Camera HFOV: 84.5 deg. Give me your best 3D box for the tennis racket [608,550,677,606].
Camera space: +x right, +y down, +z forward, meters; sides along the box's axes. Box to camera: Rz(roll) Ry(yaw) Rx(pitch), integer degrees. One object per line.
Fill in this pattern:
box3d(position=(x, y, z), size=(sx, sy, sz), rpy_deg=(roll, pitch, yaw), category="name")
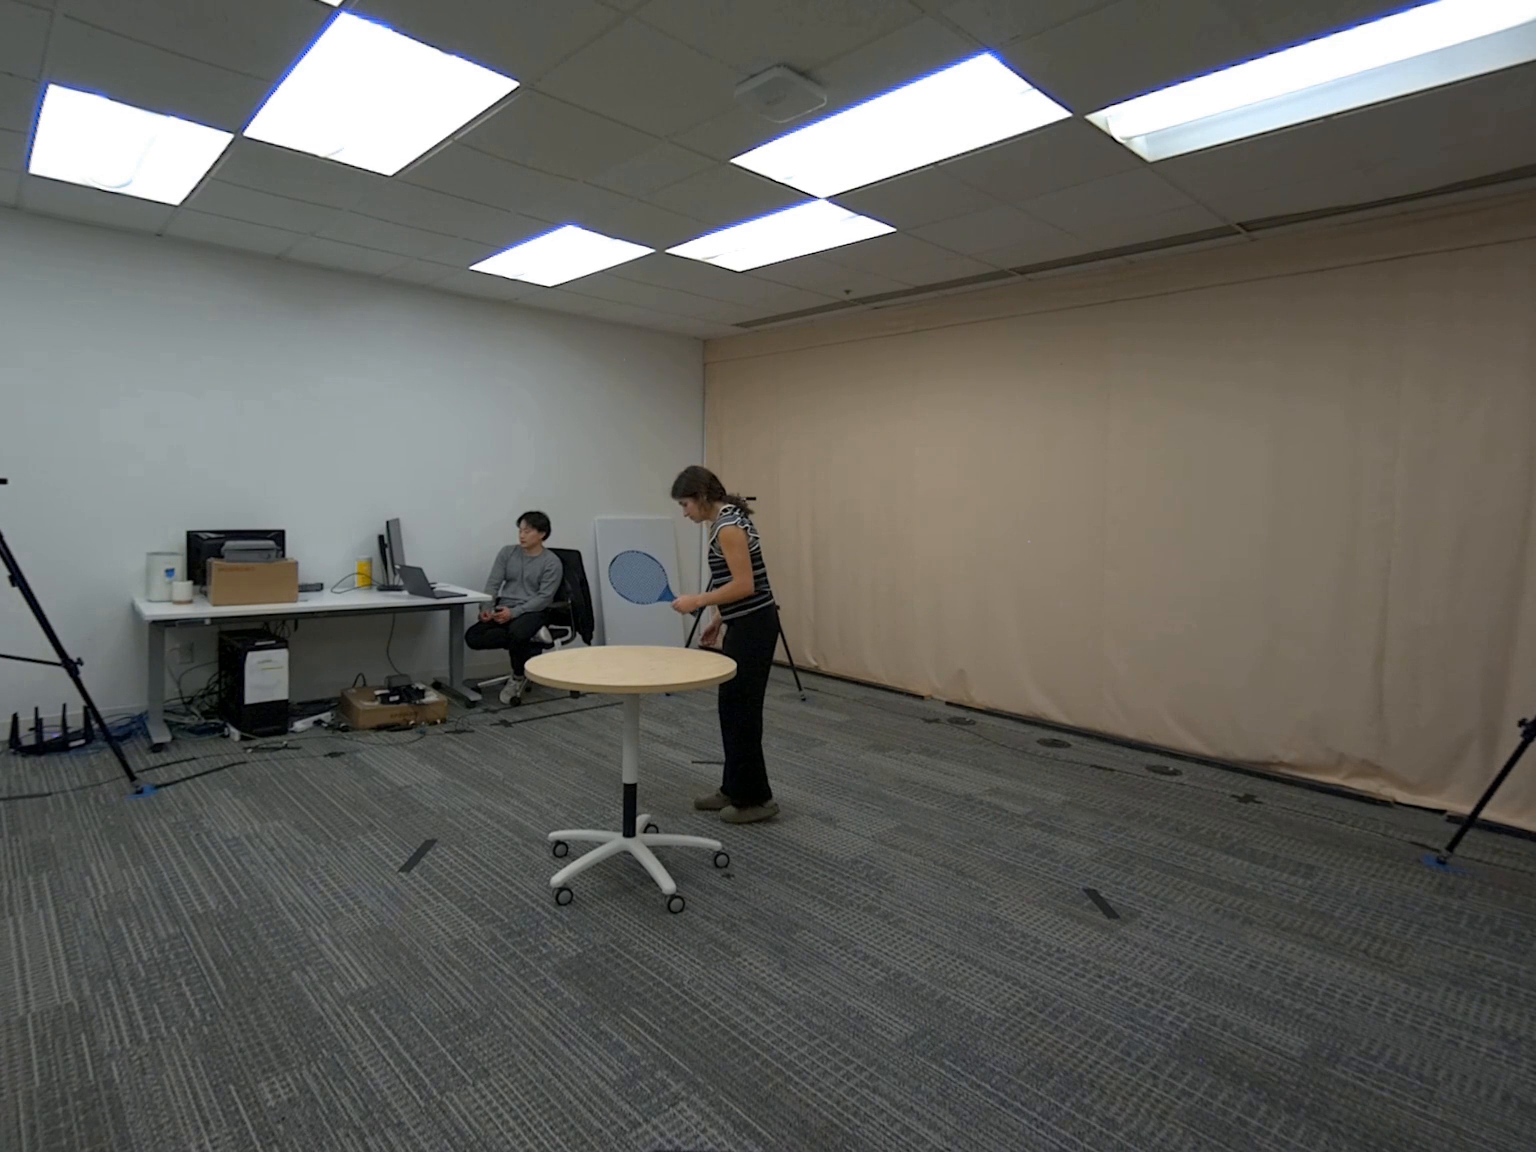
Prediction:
box3d(position=(-0.487, 0.058, 3.596), size=(0.431, 0.214, 0.032), rpy_deg=(35, -5, -4), category="tennis racket")
